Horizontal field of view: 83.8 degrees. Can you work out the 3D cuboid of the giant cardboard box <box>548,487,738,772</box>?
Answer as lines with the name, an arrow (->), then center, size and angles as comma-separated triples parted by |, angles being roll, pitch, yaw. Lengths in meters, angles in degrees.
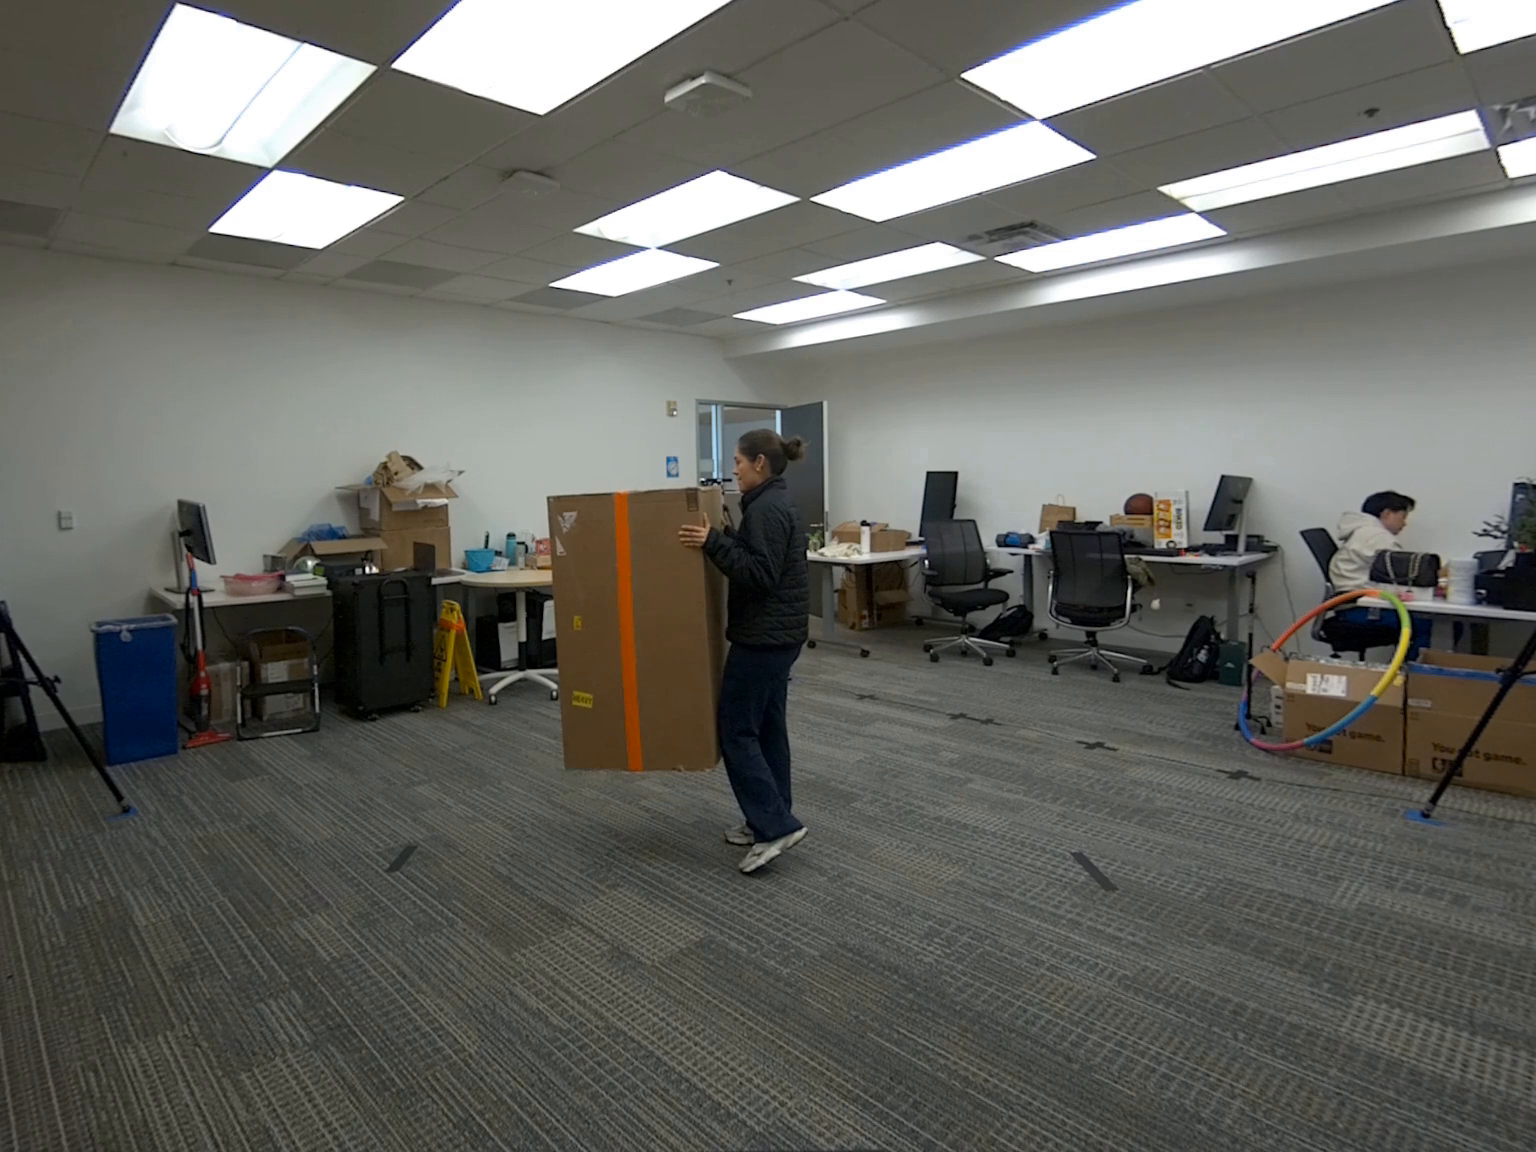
giant cardboard box -> -0.473, 0.184, 3.297 | 0.583, 1.023, 0.423 | -2, 3, 10
